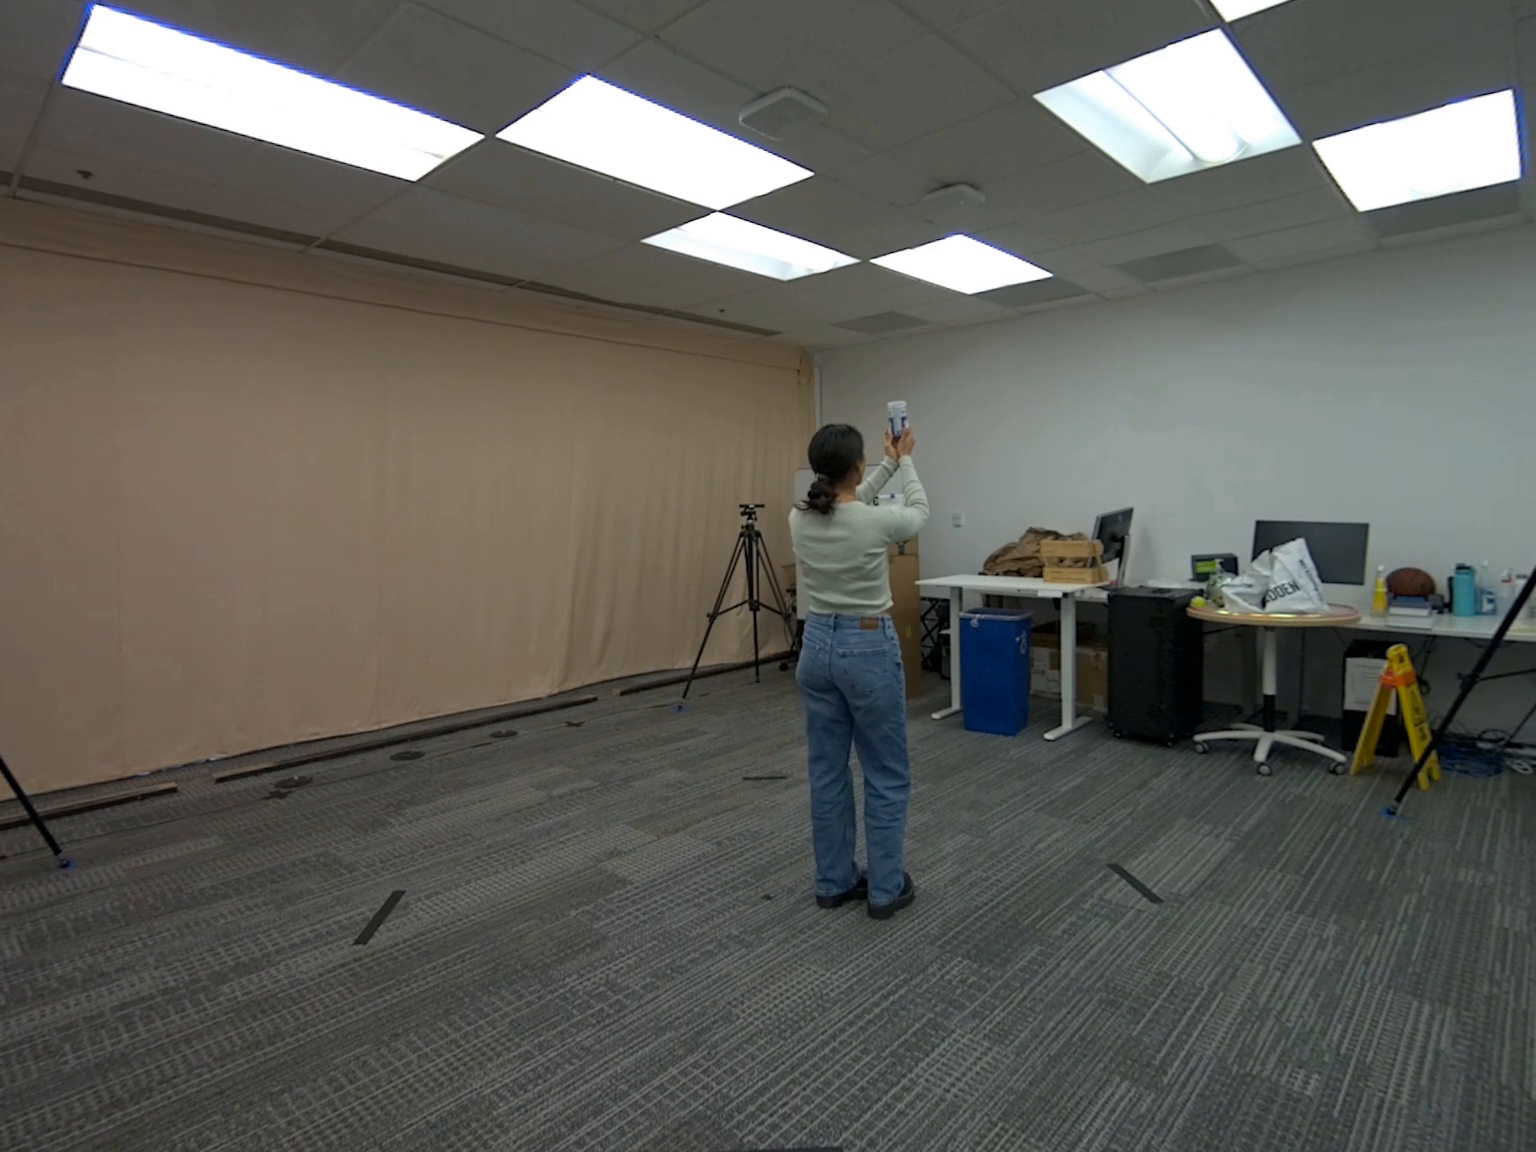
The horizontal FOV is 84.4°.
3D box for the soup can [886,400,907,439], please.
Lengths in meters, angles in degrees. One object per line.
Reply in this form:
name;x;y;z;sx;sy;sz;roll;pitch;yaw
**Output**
soup can;0.478;-0.573;3.065;0.067;0.120;0.068;-6;12;-1
